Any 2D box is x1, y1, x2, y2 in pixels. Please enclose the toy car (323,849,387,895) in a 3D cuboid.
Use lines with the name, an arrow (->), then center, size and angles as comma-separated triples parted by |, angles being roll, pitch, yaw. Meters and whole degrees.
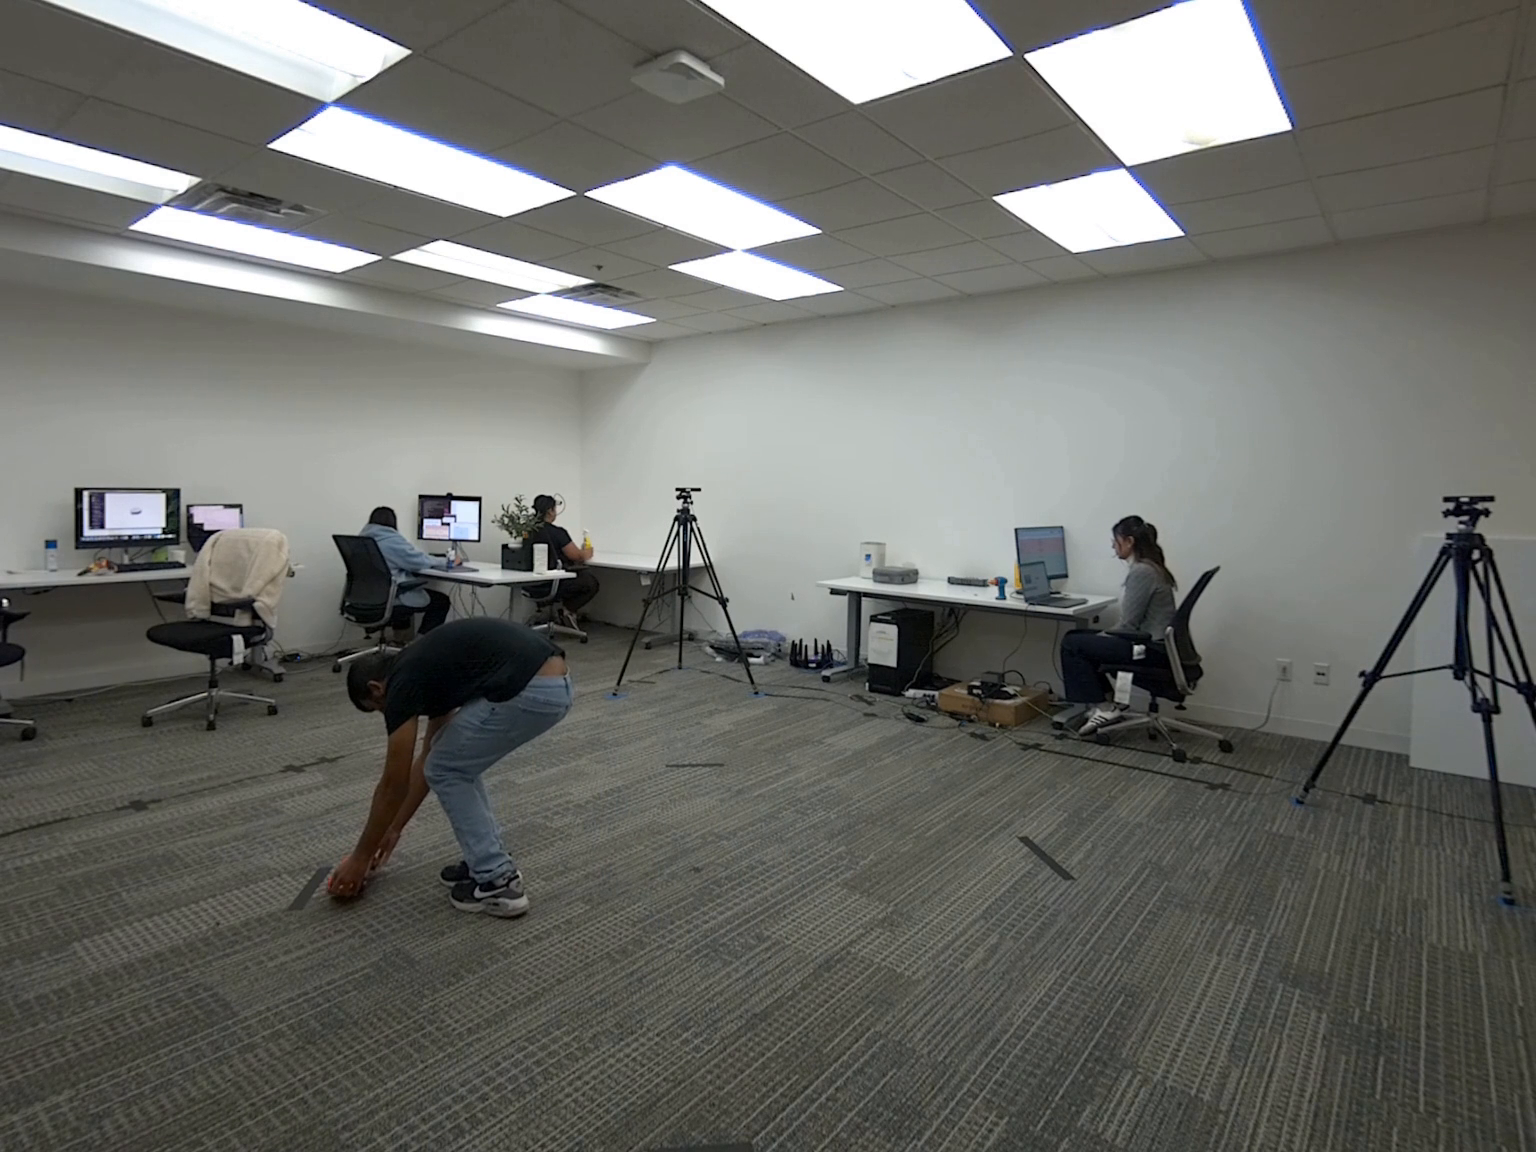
toy car -> -1.430, 1.016, 2.915 | 0.129, 0.083, 0.255 | -2, -4, -9
